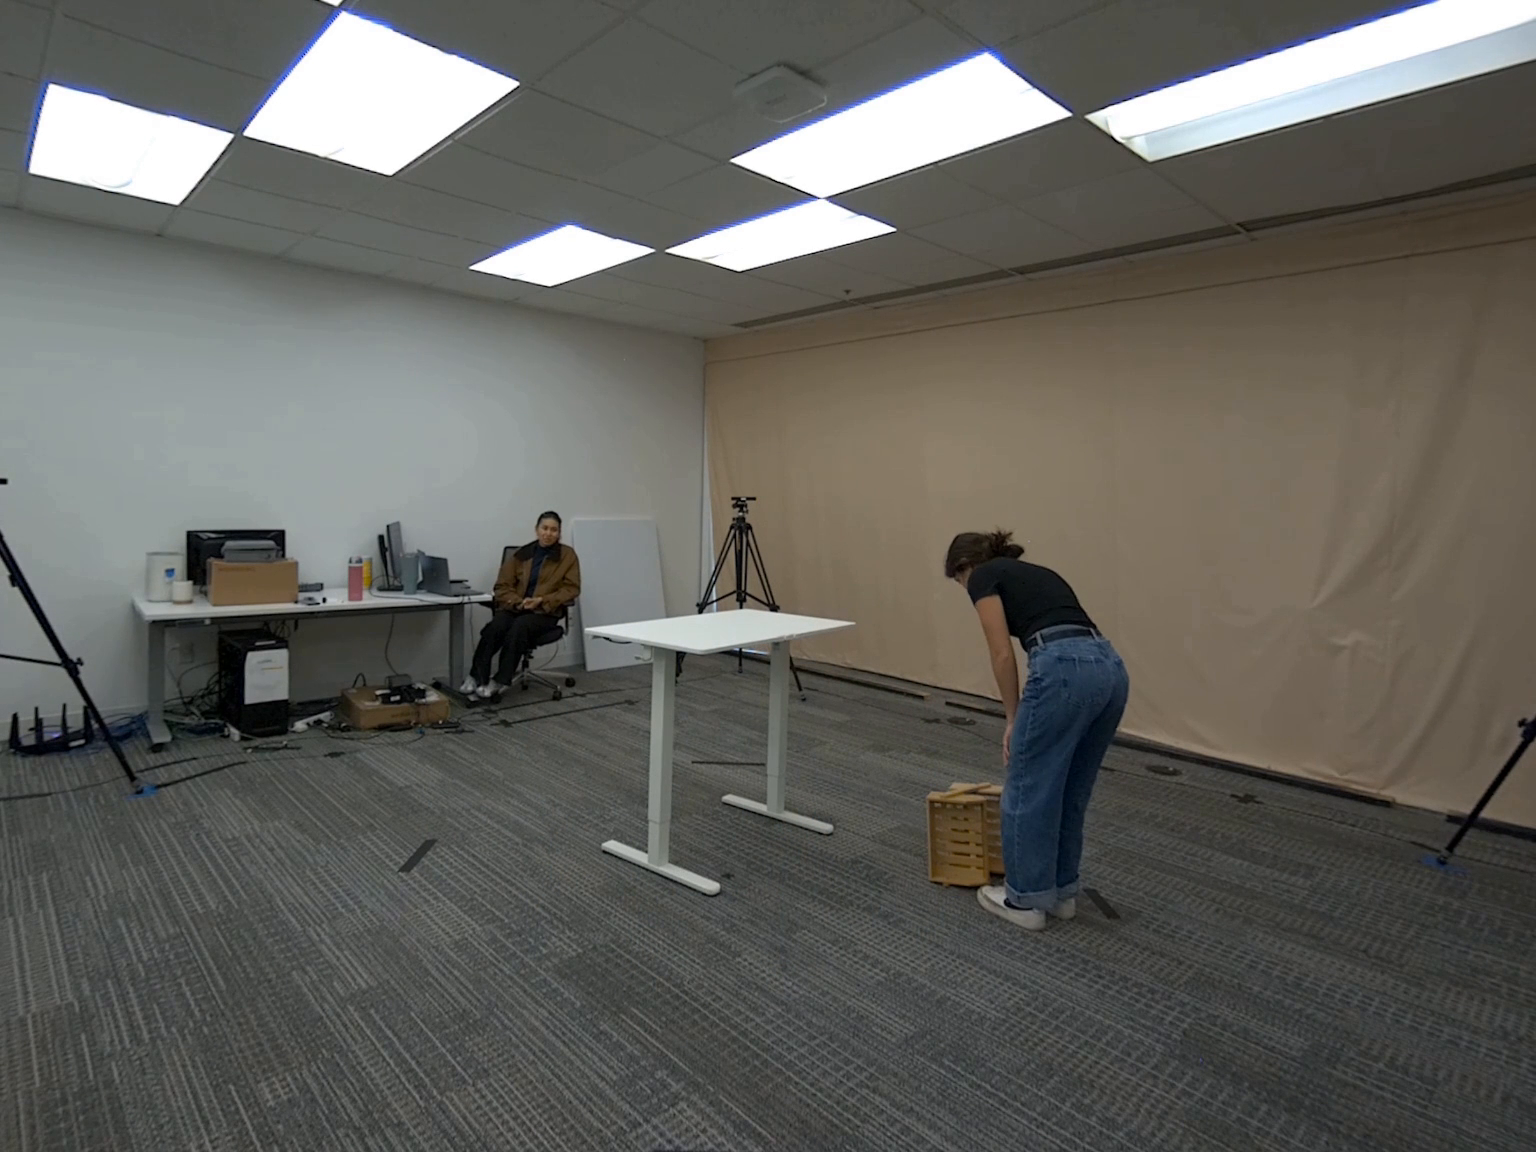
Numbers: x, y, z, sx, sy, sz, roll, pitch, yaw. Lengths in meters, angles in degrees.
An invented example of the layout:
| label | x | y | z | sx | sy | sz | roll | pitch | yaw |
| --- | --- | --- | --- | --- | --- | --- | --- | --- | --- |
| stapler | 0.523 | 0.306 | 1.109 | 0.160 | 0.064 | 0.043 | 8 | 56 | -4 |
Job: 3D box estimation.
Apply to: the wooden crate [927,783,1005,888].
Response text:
| label | x | y | z | sx | sy | sz | roll | pitch | yaw |
| --- | --- | --- | --- | --- | --- | --- | --- | --- | --- |
| wooden crate | 0.772 | 0.962 | 3.141 | 0.307 | 0.325 | 0.268 | -3 | -1 | 25 |
